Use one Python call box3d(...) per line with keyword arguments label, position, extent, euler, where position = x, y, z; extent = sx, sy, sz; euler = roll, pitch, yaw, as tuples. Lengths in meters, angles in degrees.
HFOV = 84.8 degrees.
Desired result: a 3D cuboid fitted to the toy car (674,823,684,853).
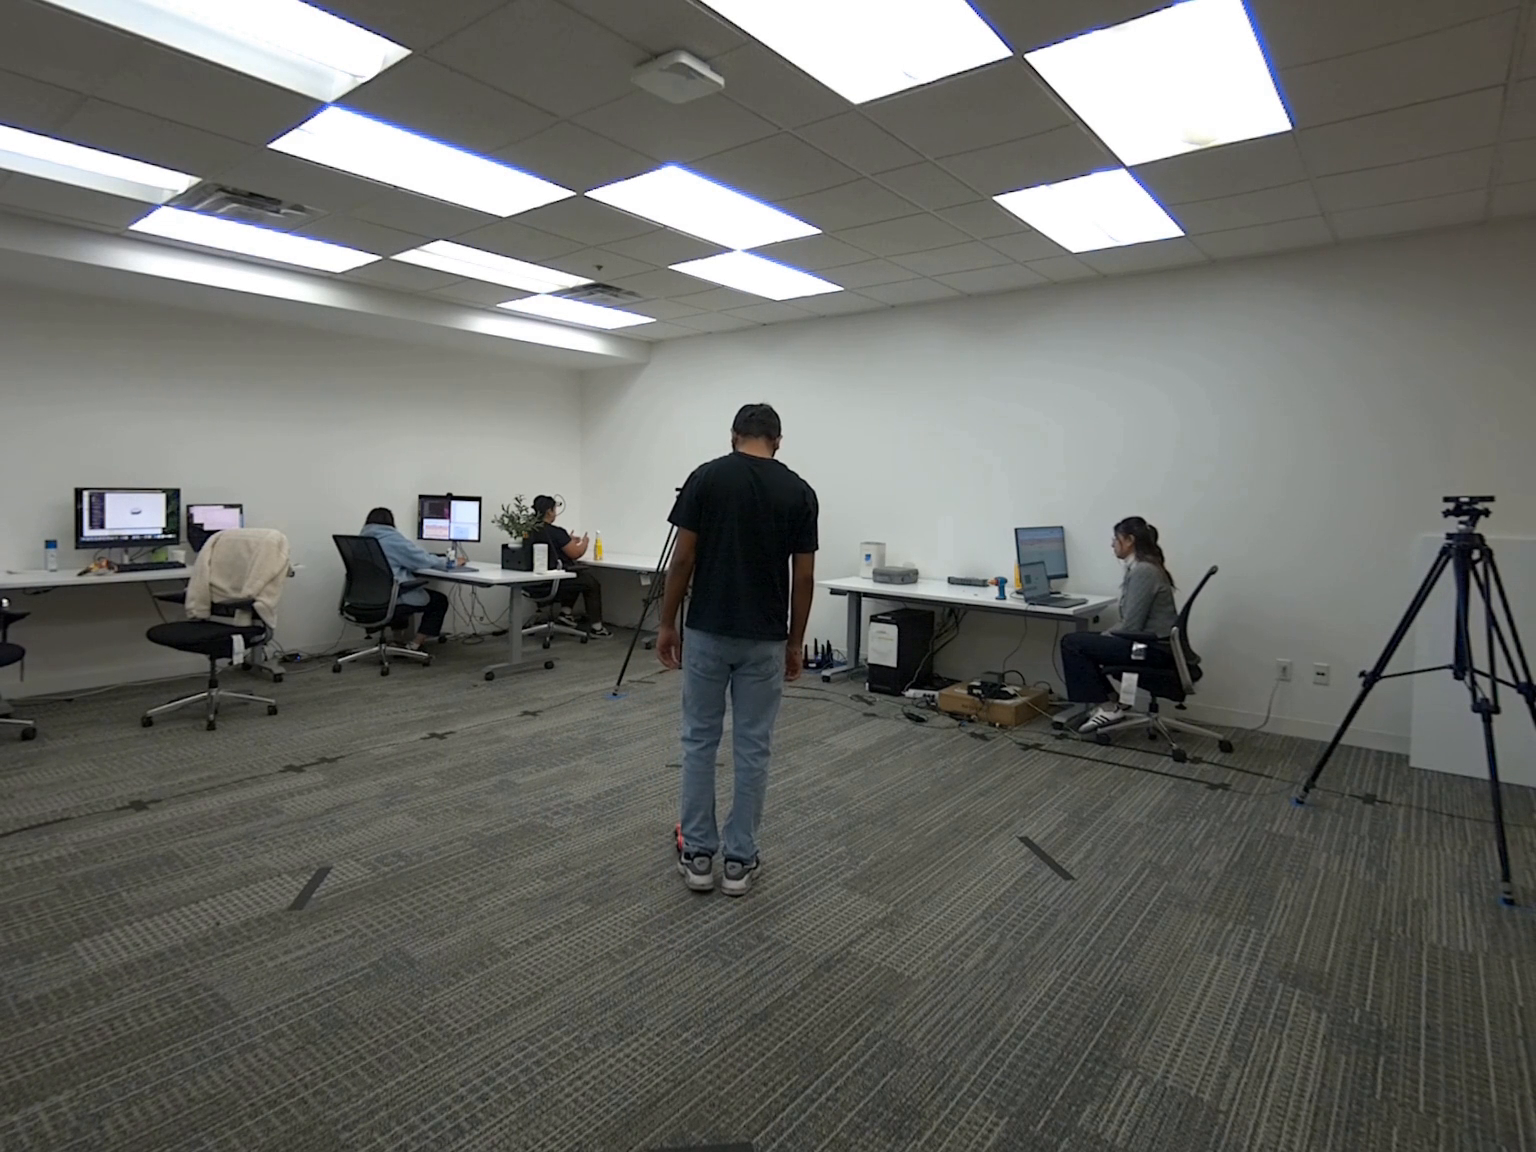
box3d(label="toy car", position=(-0.307, 1.008, 3.310), extent=(0.129, 0.084, 0.254), euler=(0, -7, -7))
